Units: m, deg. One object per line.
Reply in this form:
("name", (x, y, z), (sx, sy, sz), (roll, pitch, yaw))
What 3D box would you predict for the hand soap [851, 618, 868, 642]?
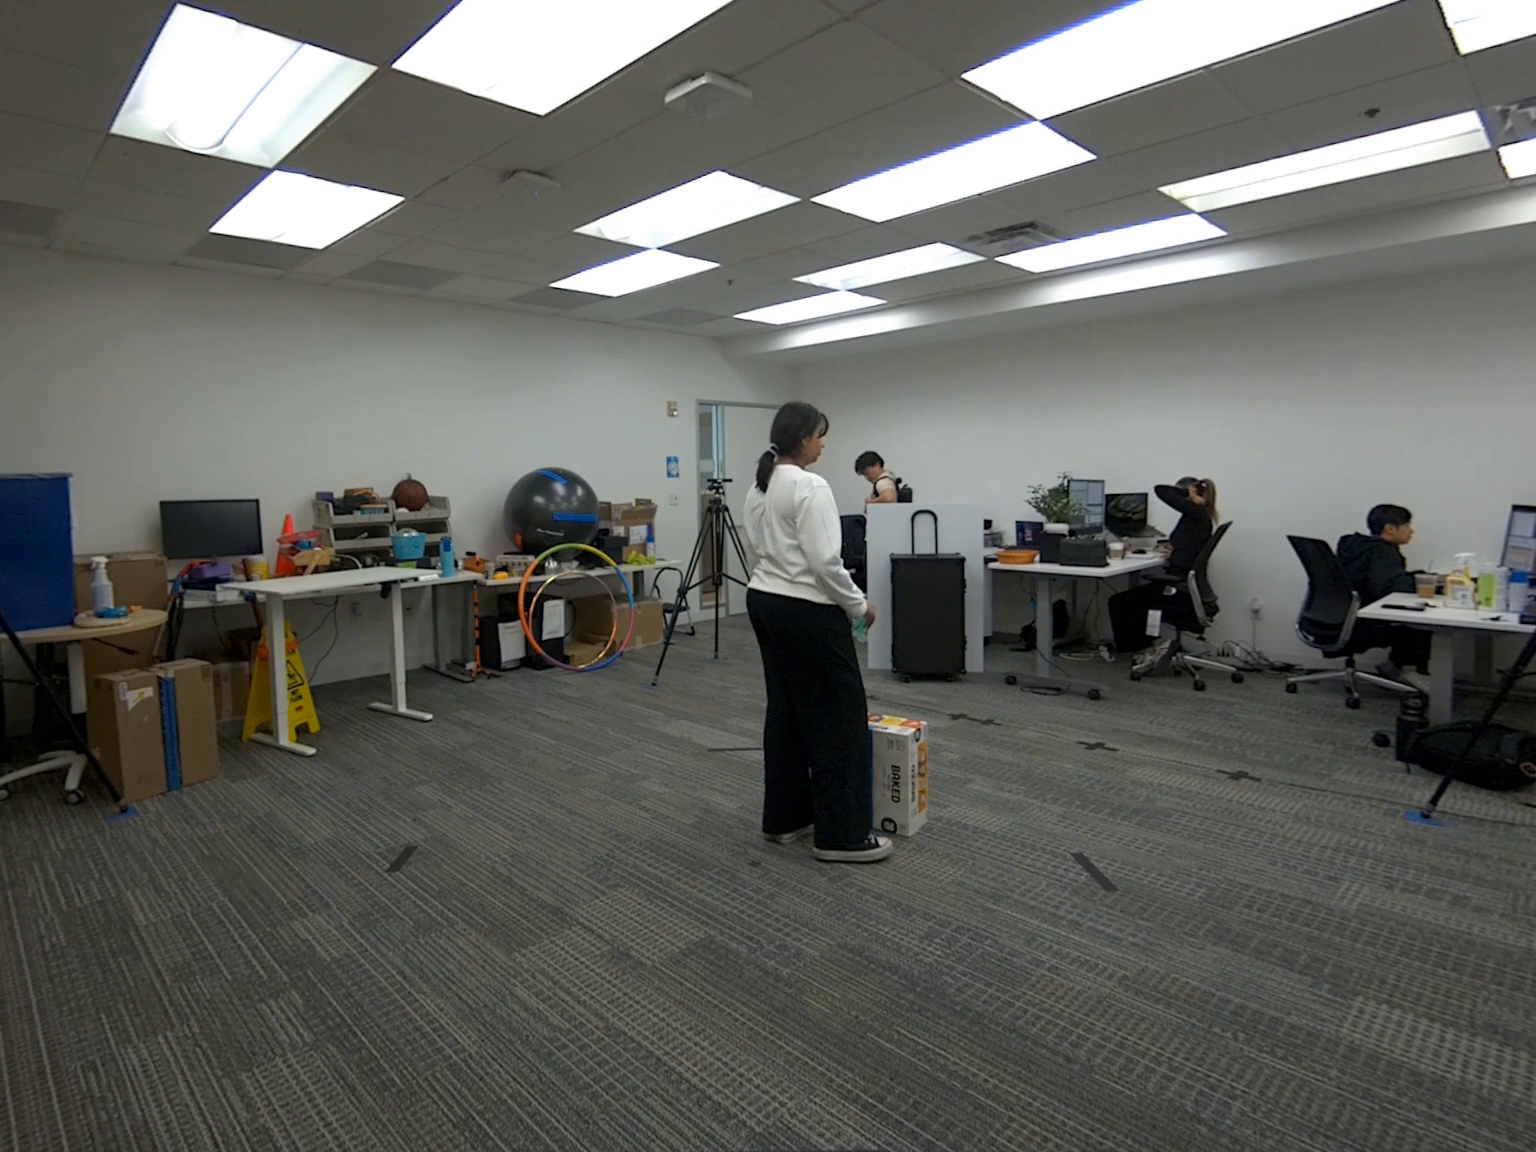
("hand soap", (0.360, 0.151, 3.311), (0.042, 0.166, 0.087), (-4, 15, -21))
